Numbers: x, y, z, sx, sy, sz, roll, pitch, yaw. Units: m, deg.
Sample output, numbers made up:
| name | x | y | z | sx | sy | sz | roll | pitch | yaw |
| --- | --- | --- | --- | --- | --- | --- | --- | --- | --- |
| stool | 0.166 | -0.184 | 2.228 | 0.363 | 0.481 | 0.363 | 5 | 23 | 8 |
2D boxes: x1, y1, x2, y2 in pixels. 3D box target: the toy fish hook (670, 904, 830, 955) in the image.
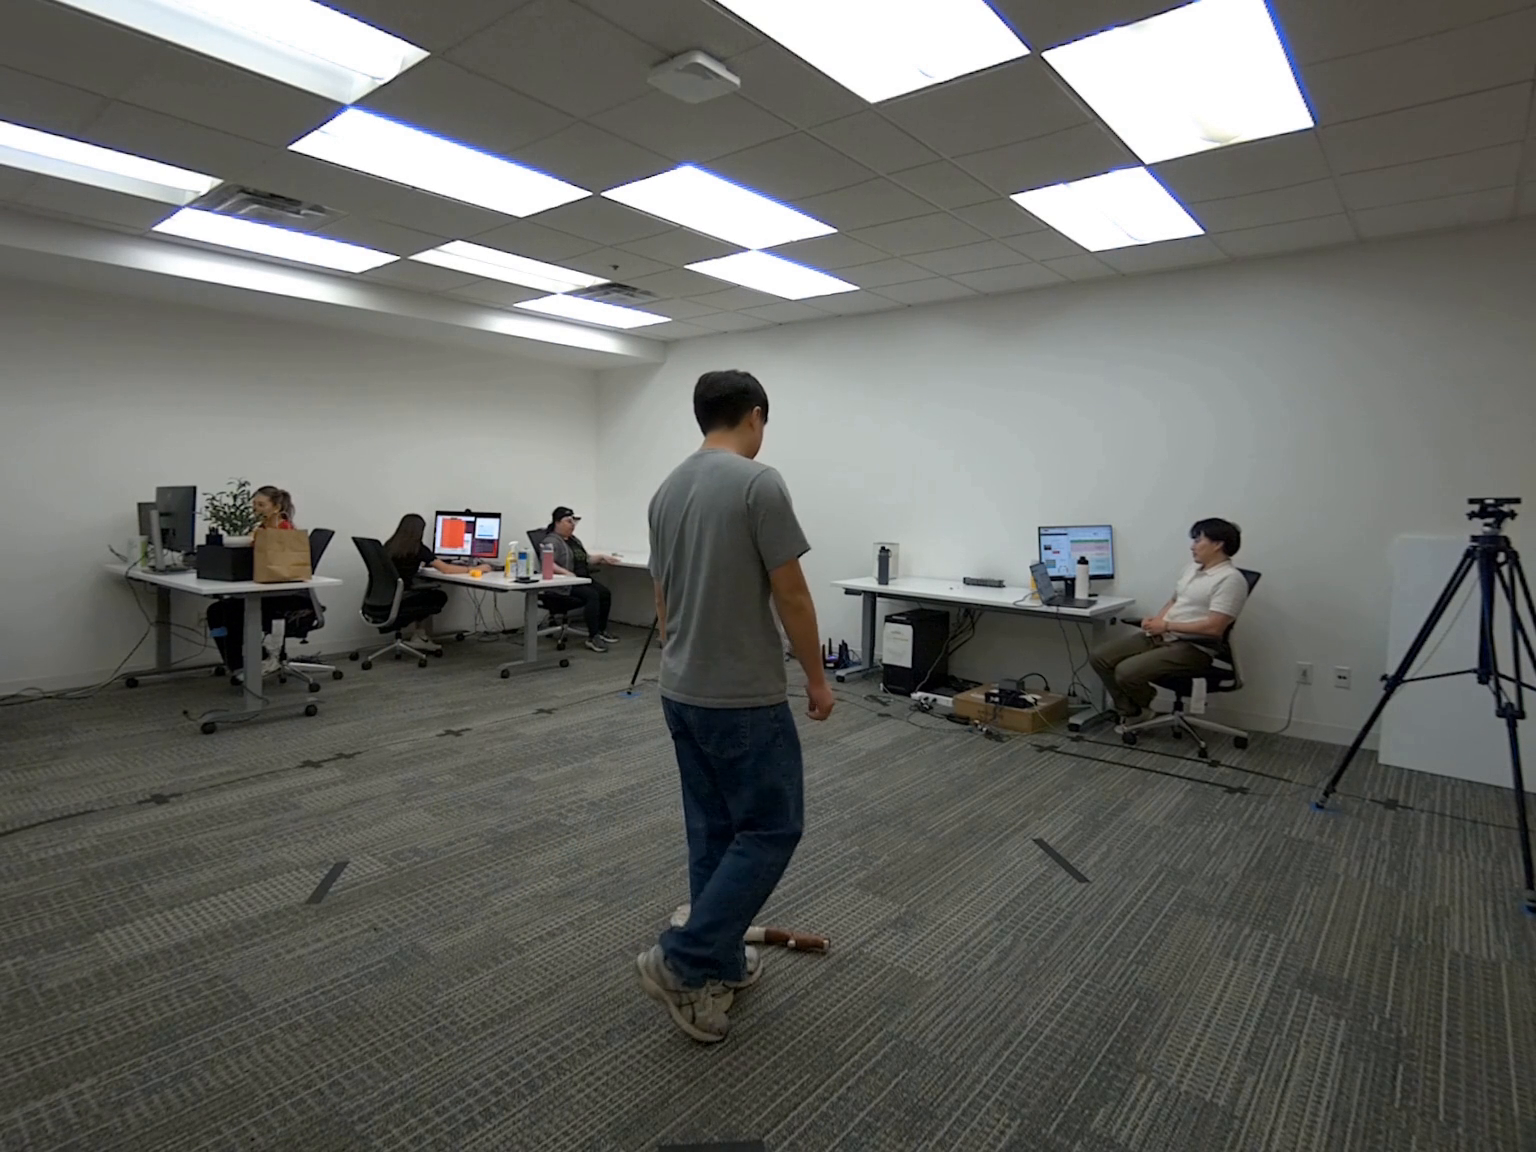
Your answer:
| name | x | y | z | sx | sy | sz | roll | pitch | yaw |
| --- | --- | --- | --- | --- | --- | --- | --- | --- | --- |
| toy fish hook | -0.058 | 1.090 | 2.664 | 0.514 | 0.048 | 0.222 | 3 | 7 | 13 |
